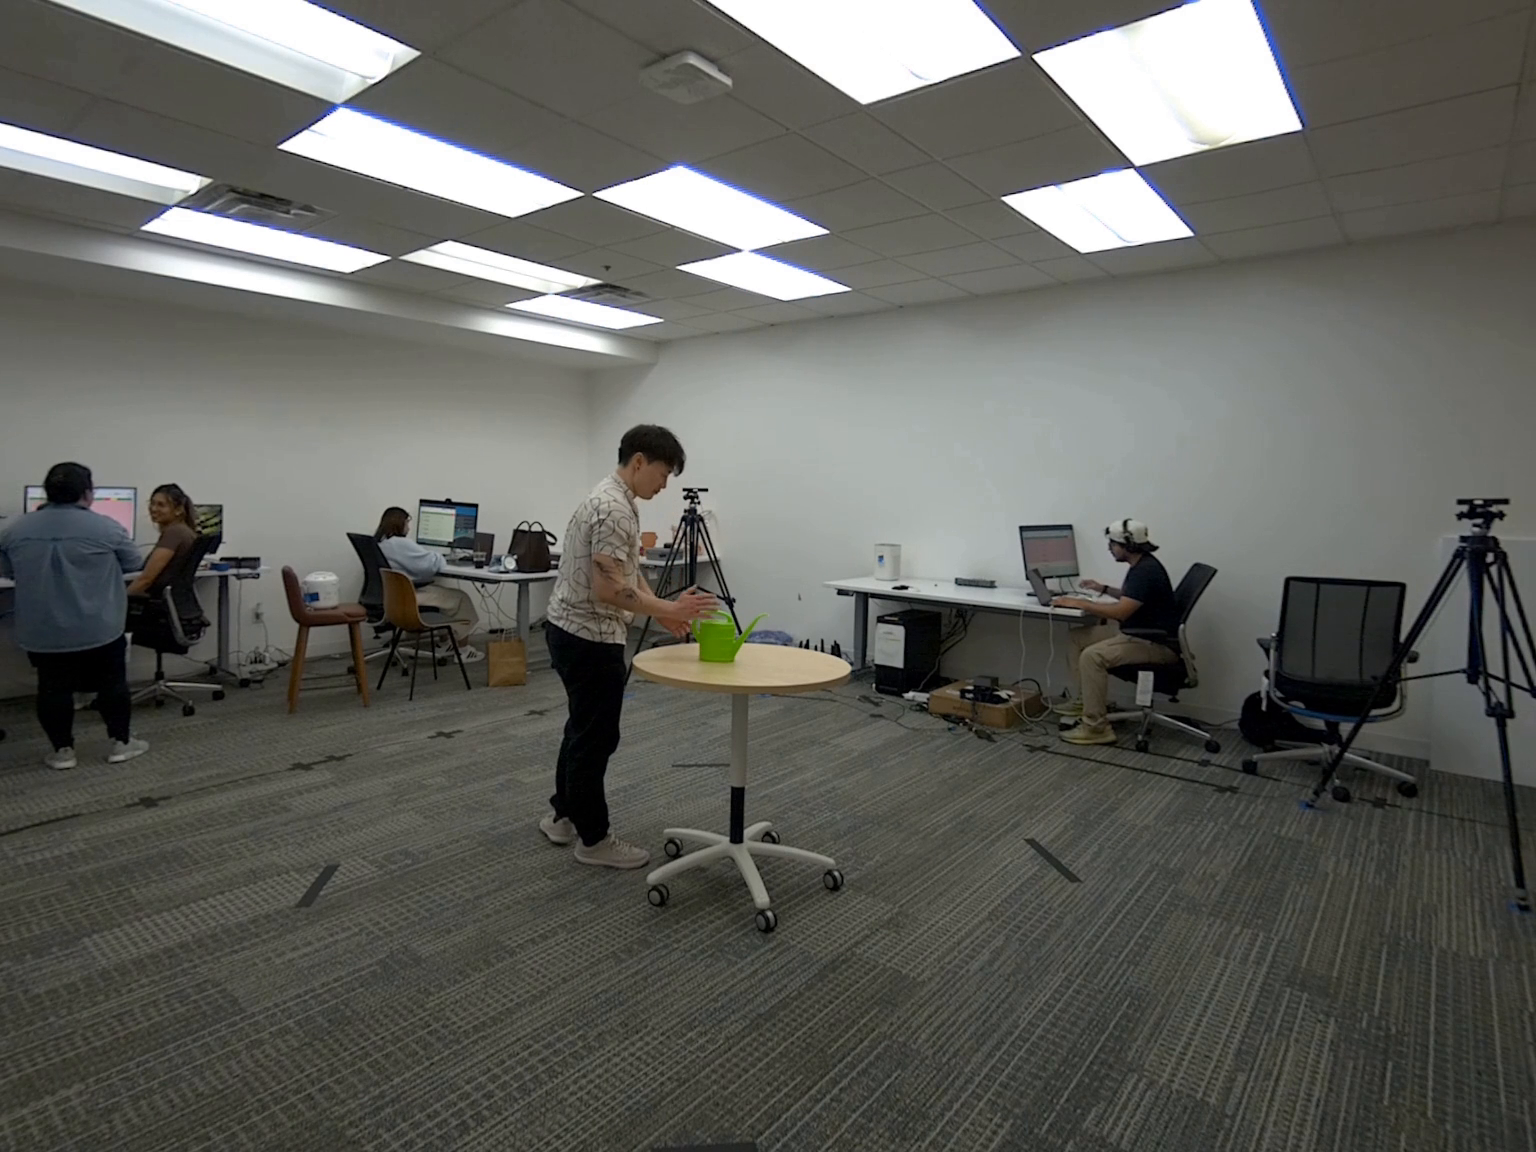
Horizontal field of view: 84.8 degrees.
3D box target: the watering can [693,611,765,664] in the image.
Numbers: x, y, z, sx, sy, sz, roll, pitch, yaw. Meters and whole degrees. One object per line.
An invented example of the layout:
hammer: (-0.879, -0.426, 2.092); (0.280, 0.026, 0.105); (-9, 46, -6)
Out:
watering can: (-0.145, 0.214, 2.989); (0.286, 0.176, 0.095); (3, 2, 28)
